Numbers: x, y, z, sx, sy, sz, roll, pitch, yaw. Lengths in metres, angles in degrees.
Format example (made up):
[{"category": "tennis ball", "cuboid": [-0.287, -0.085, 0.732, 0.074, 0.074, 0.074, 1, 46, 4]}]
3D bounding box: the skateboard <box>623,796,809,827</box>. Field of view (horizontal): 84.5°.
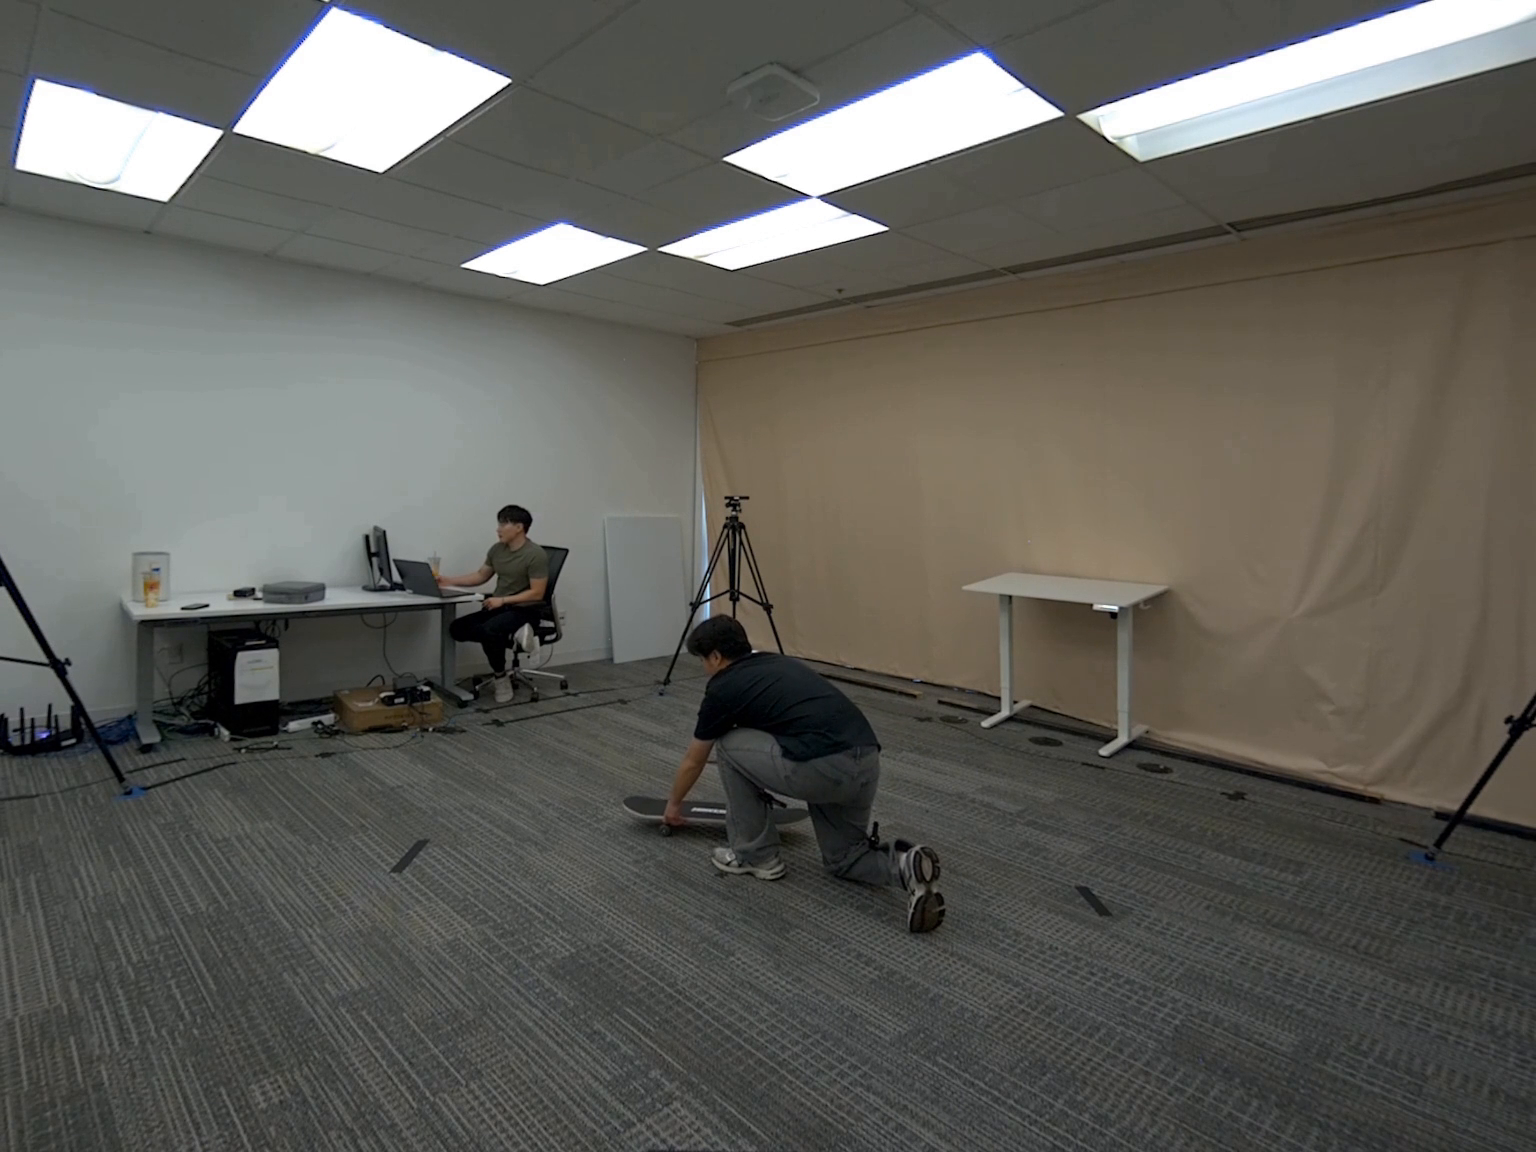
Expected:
[{"category": "skateboard", "cuboid": [-0.228, 1.008, 3.497, 0.790, 0.110, 0.193, 3, 5, 6]}]
